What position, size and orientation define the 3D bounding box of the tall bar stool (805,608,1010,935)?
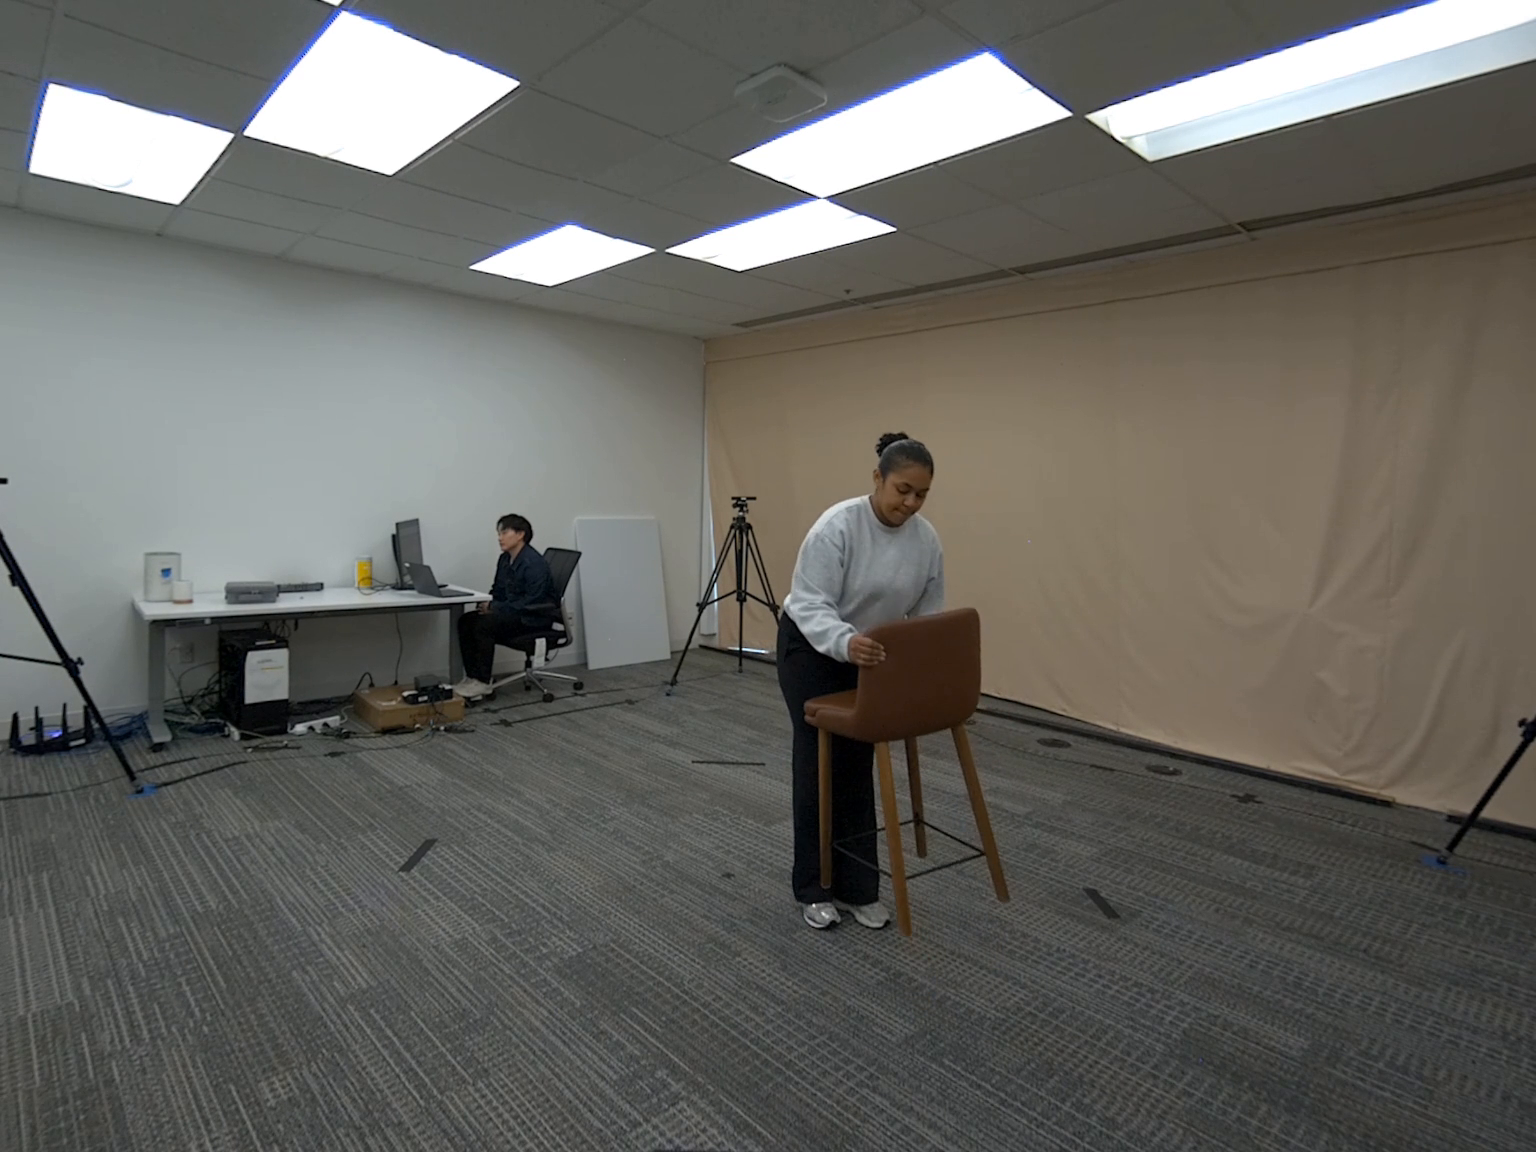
[{"bbox_3d":[0.399,0.563,2.580,0.449,0.888,0.476,-7,2,-25],"label":"tall bar stool"}]
